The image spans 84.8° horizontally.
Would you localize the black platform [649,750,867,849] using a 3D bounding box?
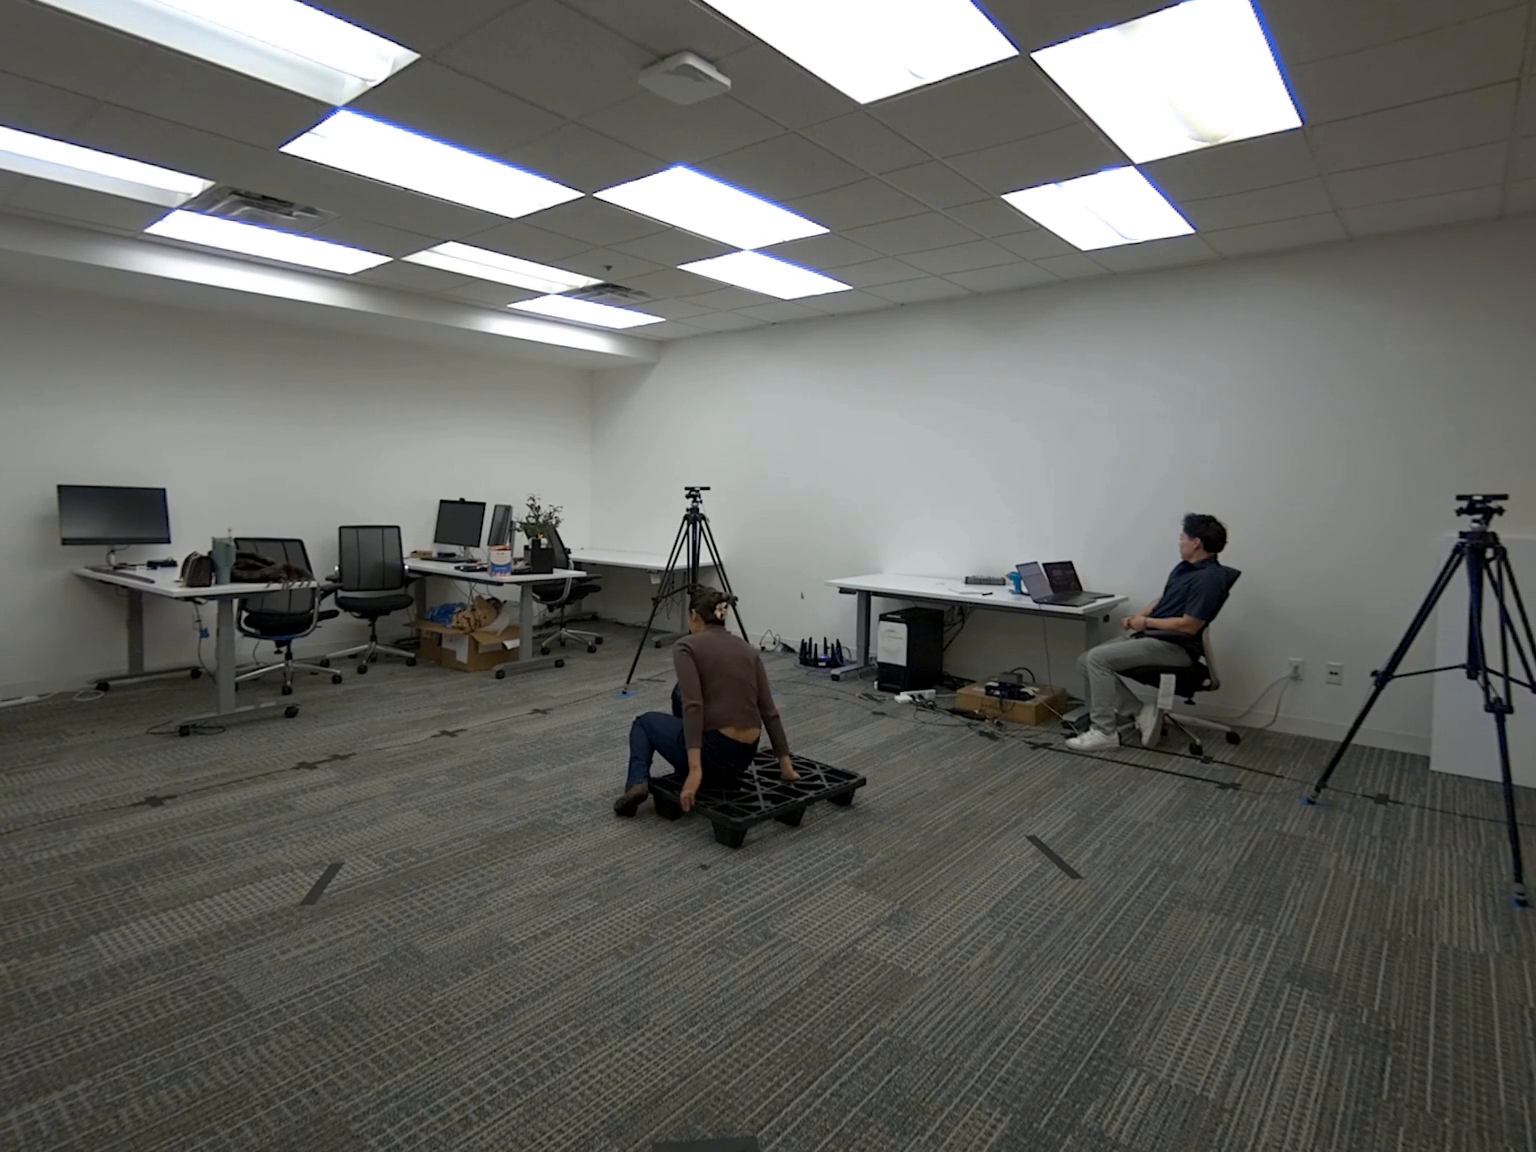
[{"bbox_3d":[-0.054,0.945,3.687,0.782,0.143,0.626,-5,9,-44],"label":"black platform"}]
